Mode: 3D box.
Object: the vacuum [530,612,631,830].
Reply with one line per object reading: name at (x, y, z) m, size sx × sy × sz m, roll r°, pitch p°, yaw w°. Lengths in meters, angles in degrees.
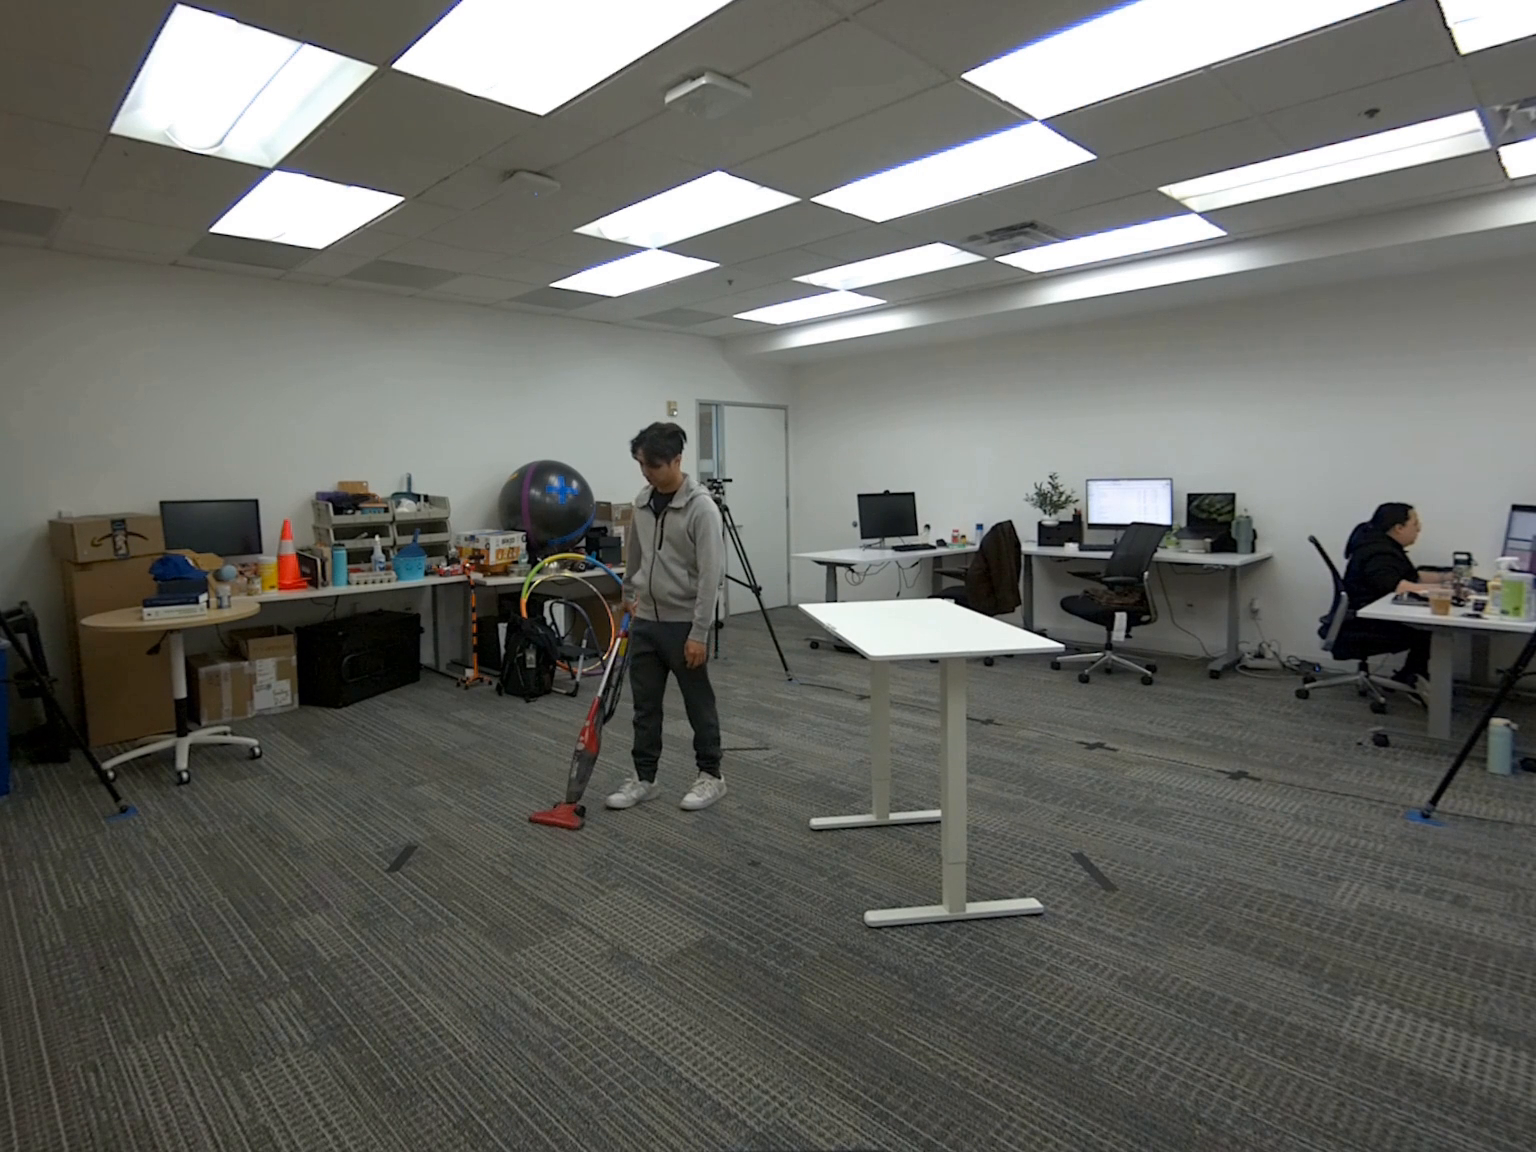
vacuum at (-0.745, 0.569, 3.807) m, size 0.258 × 1.067 × 0.138 m, roll -2°, pitch -35°, yaw 23°
